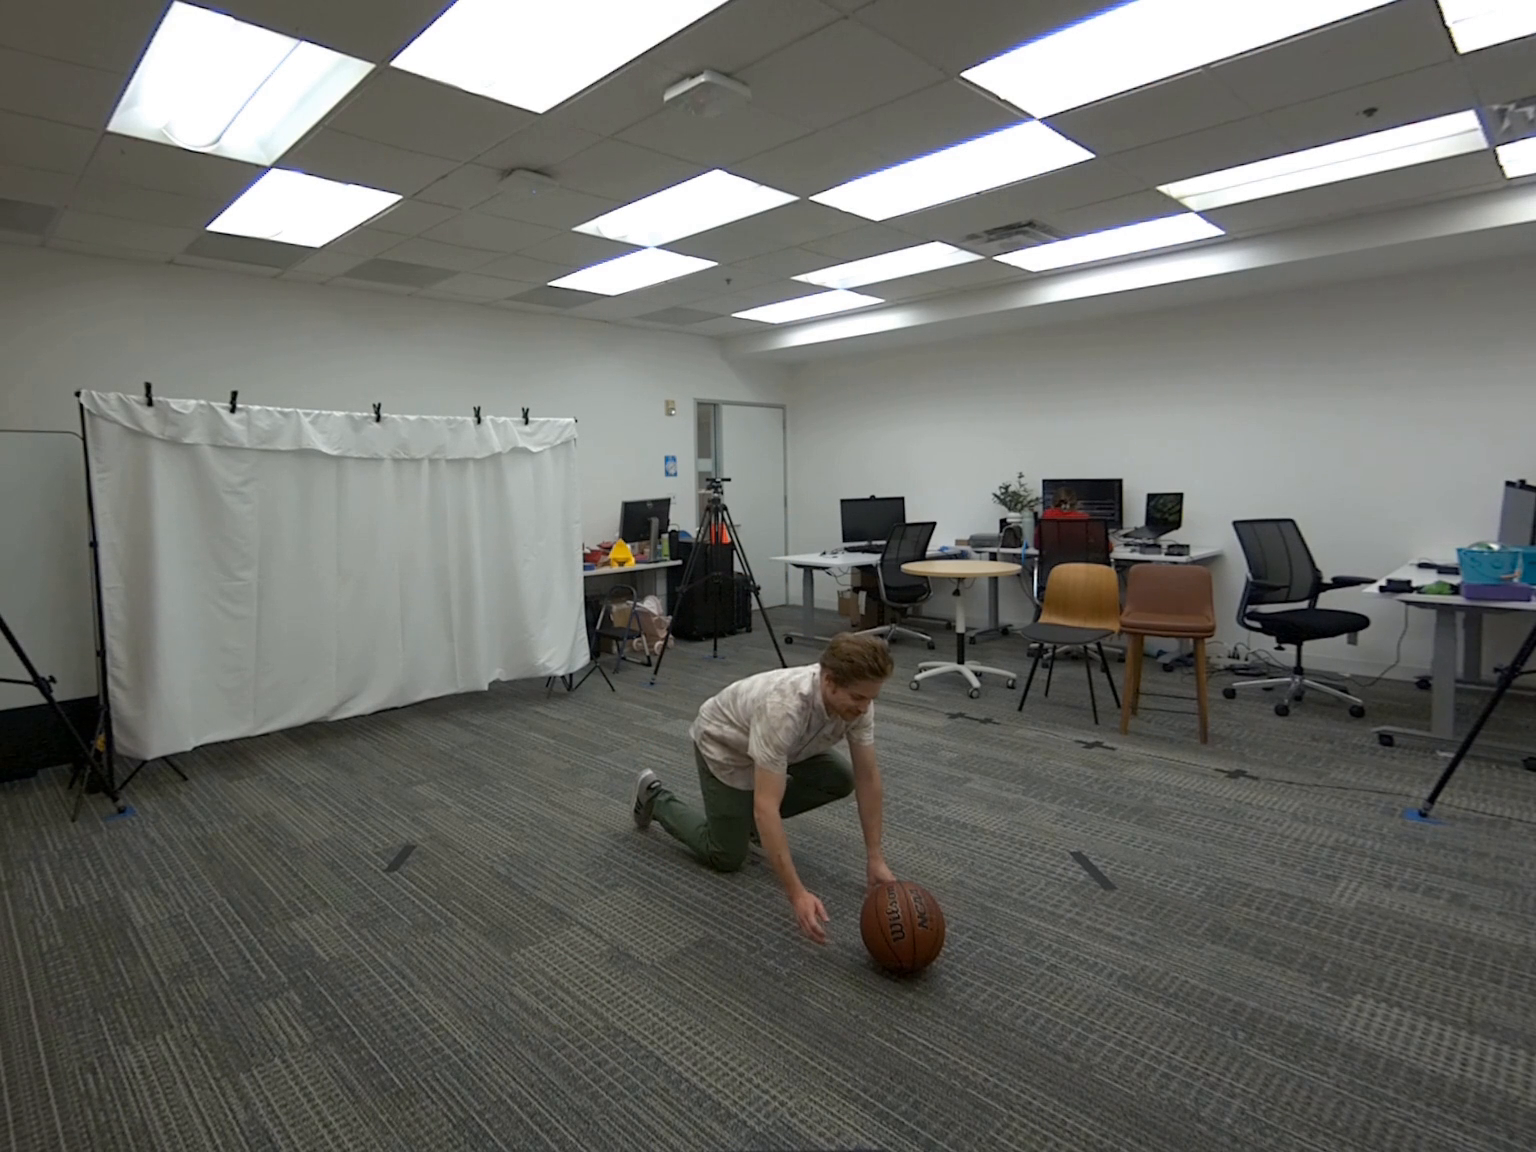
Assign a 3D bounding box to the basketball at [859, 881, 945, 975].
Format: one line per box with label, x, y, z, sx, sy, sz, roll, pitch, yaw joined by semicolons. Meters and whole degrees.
basketball;0.386;0.992;2.425;0.236;0.235;0.237;-1;5;-2
